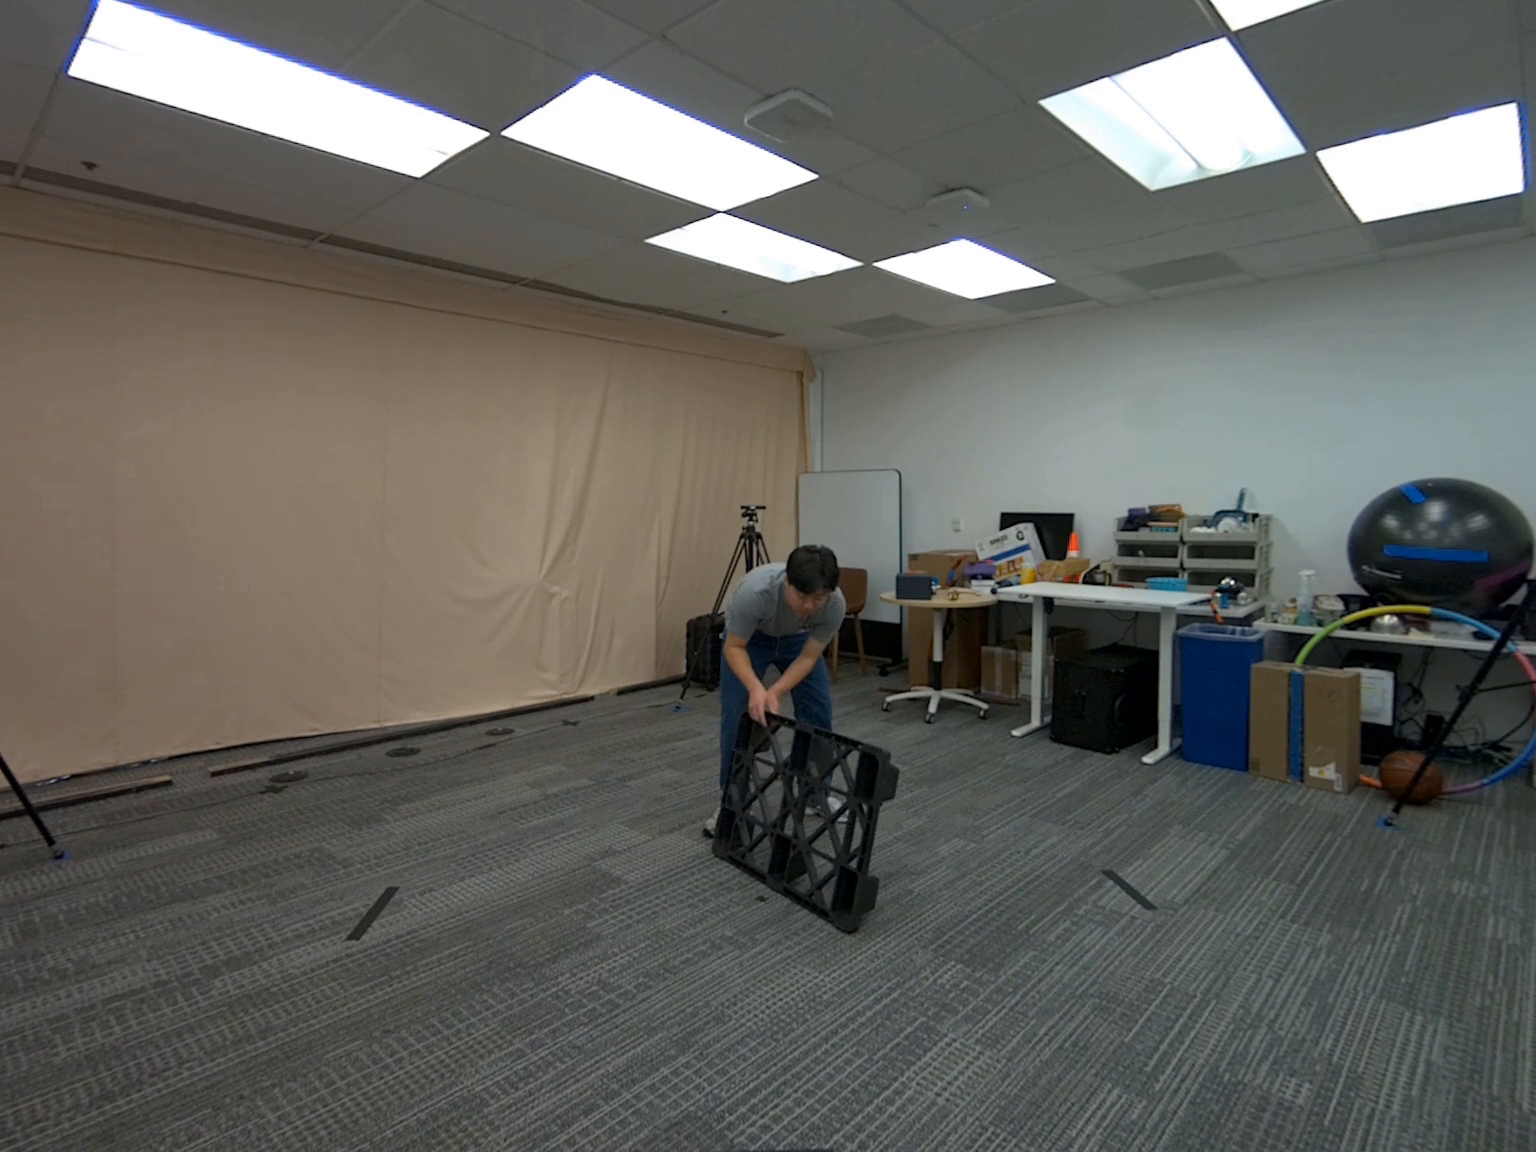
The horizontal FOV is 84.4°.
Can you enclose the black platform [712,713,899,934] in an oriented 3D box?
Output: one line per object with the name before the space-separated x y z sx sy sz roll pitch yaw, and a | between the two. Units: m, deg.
black platform | 0.127 0.856 3.100 0.138 0.606 0.832 15 -5 -37
